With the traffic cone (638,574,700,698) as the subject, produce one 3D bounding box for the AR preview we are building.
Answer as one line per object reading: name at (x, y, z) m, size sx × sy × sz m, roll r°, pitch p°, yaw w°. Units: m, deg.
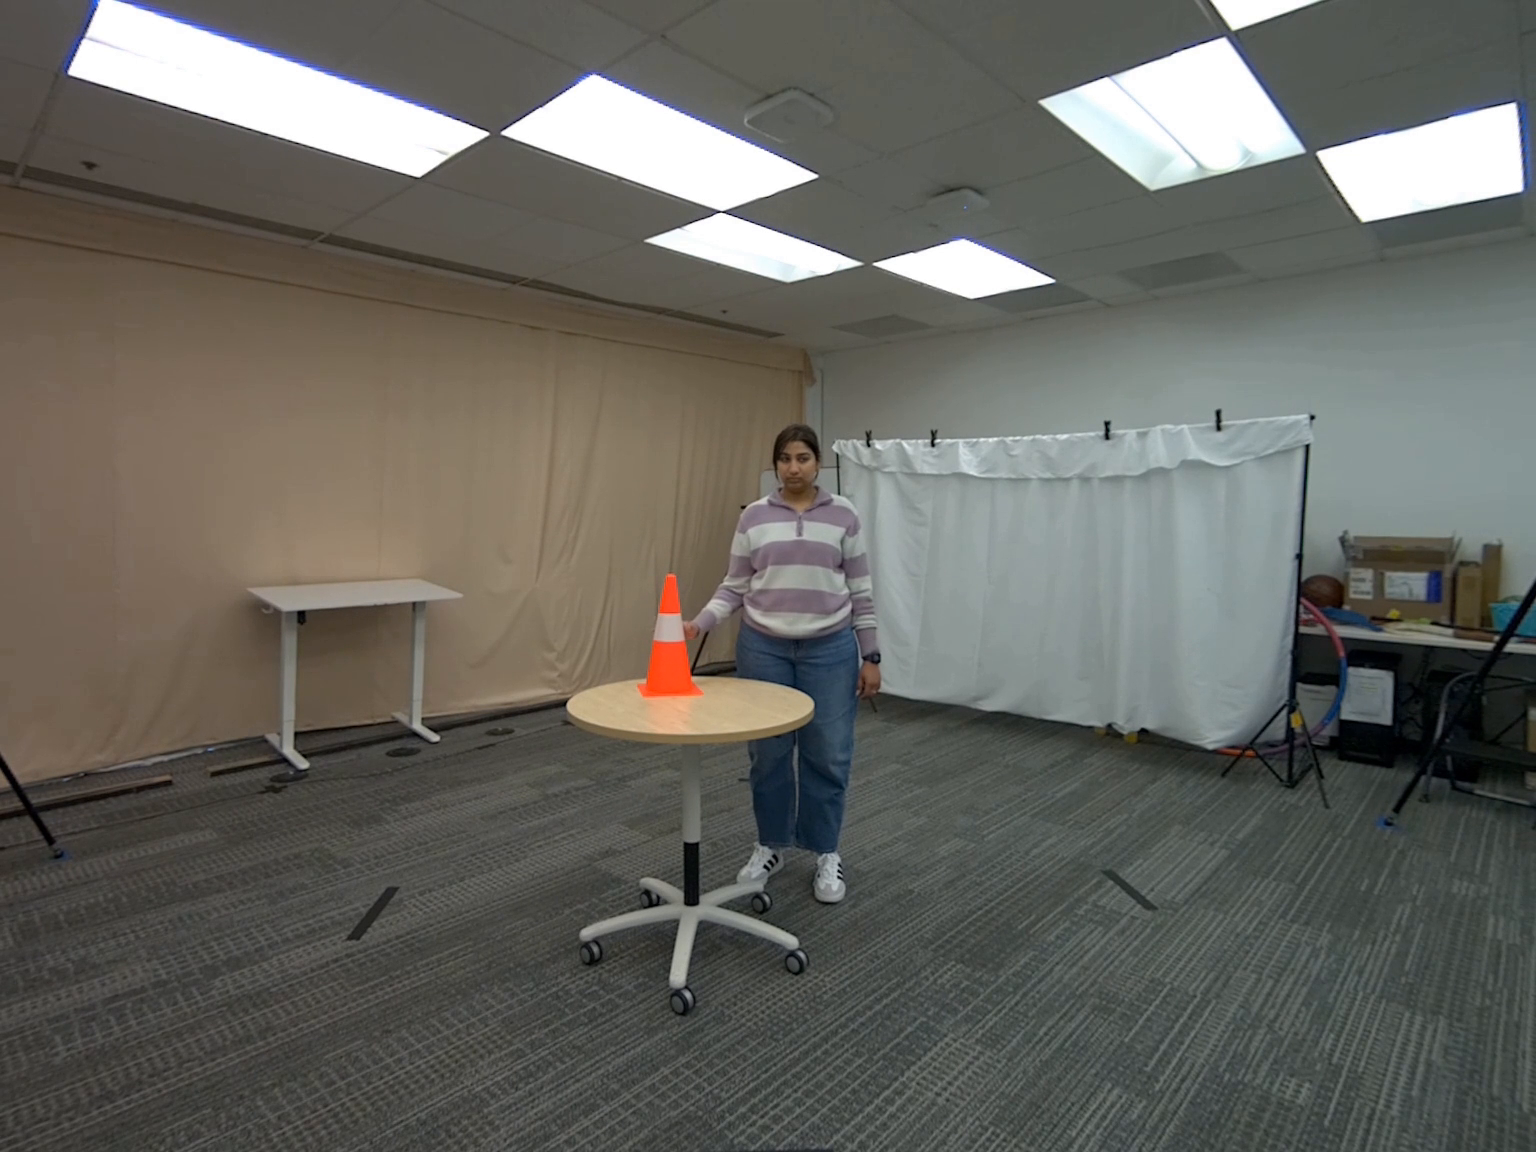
traffic cone at (-0.325, 0.193, 2.788) m, size 0.200 × 0.383 × 0.208 m, roll 0°, pitch 1°, yaw -15°
